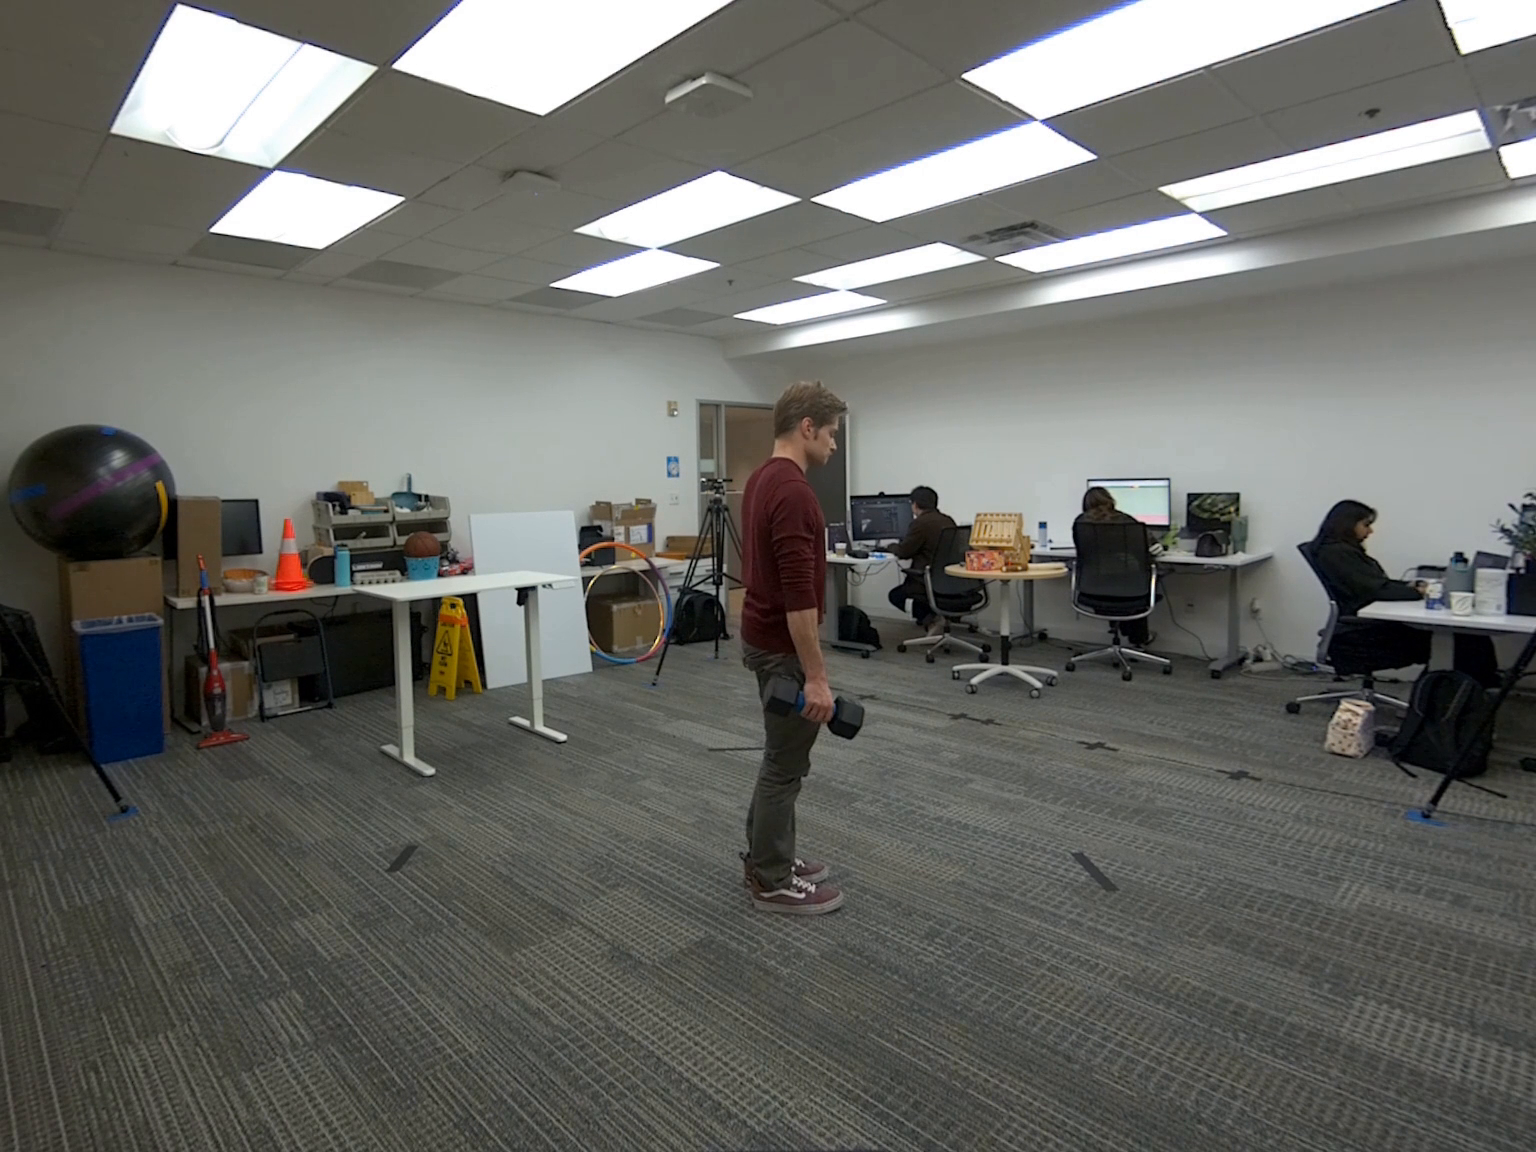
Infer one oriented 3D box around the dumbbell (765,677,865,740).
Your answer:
[{"bbox_3d":[0.149,0.391,2.551,0.290,0.125,0.108,20,-28,-11],"label":"dumbbell"}]
